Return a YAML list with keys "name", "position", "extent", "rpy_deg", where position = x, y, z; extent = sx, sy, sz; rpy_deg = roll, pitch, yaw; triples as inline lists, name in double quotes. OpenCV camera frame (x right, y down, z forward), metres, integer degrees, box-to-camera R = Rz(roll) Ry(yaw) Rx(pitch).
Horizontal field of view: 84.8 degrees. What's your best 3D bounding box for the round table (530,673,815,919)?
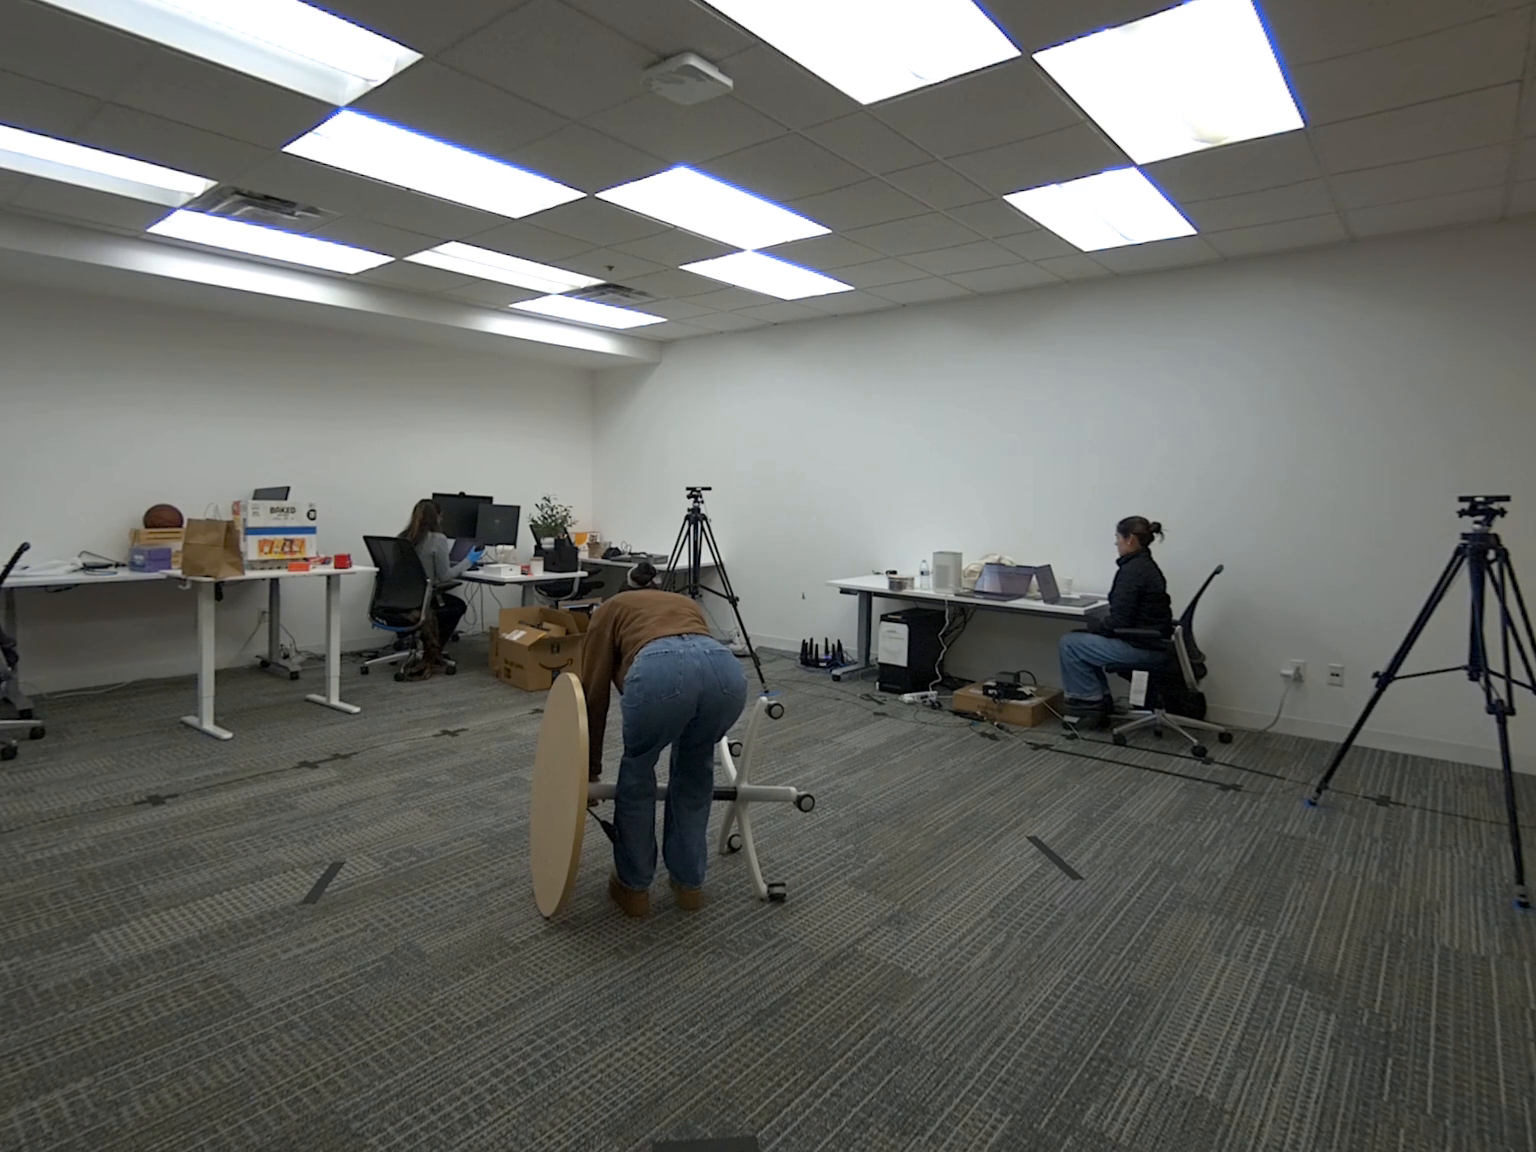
- name: "round table"
  position: [-0.355, 0.755, 2.950]
  extent: [0.776, 0.763, 0.782]
  rpy_deg: [8, 1, -22]
